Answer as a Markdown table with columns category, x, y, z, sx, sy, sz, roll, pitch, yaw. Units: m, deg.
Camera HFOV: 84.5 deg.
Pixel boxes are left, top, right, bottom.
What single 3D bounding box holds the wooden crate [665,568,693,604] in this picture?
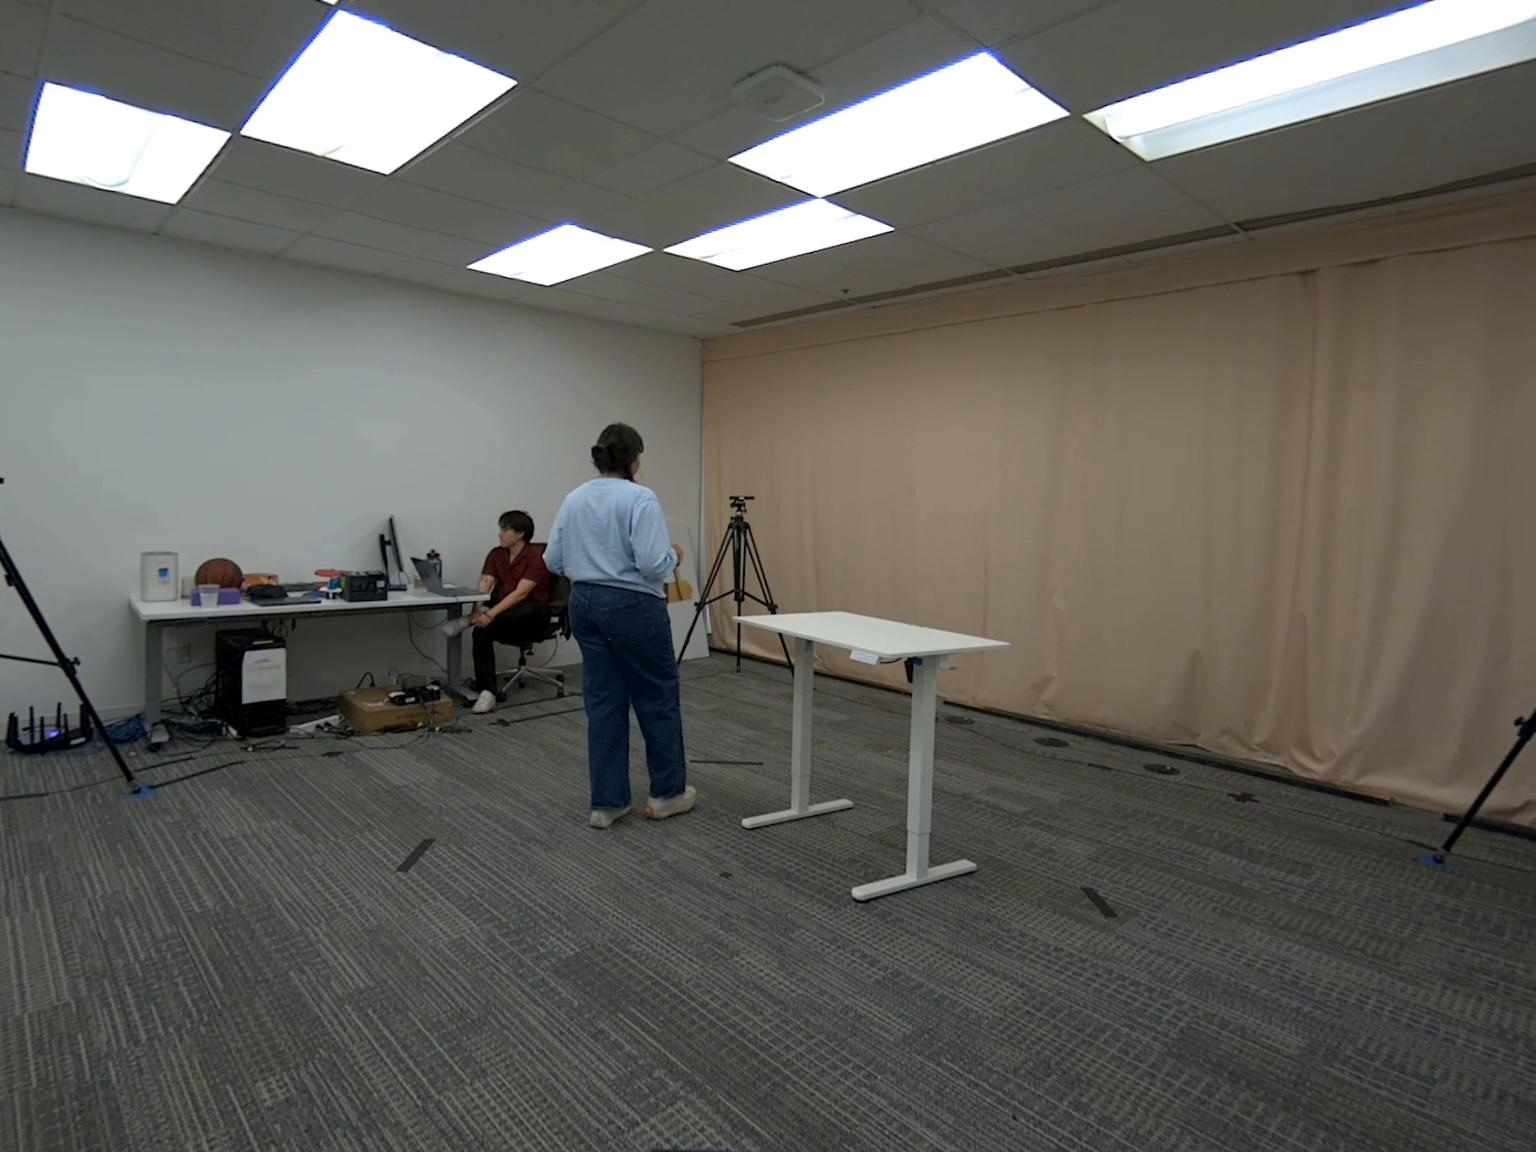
| category | x | y | z | sx | sy | sz | roll | pitch | yaw |
| --- | --- | --- | --- | --- | --- | --- | --- | --- | --- |
| wooden crate | -0.559 | -0.017 | 3.839 | 0.330 | 0.273 | 0.298 | -1 | 3 | 21 |
